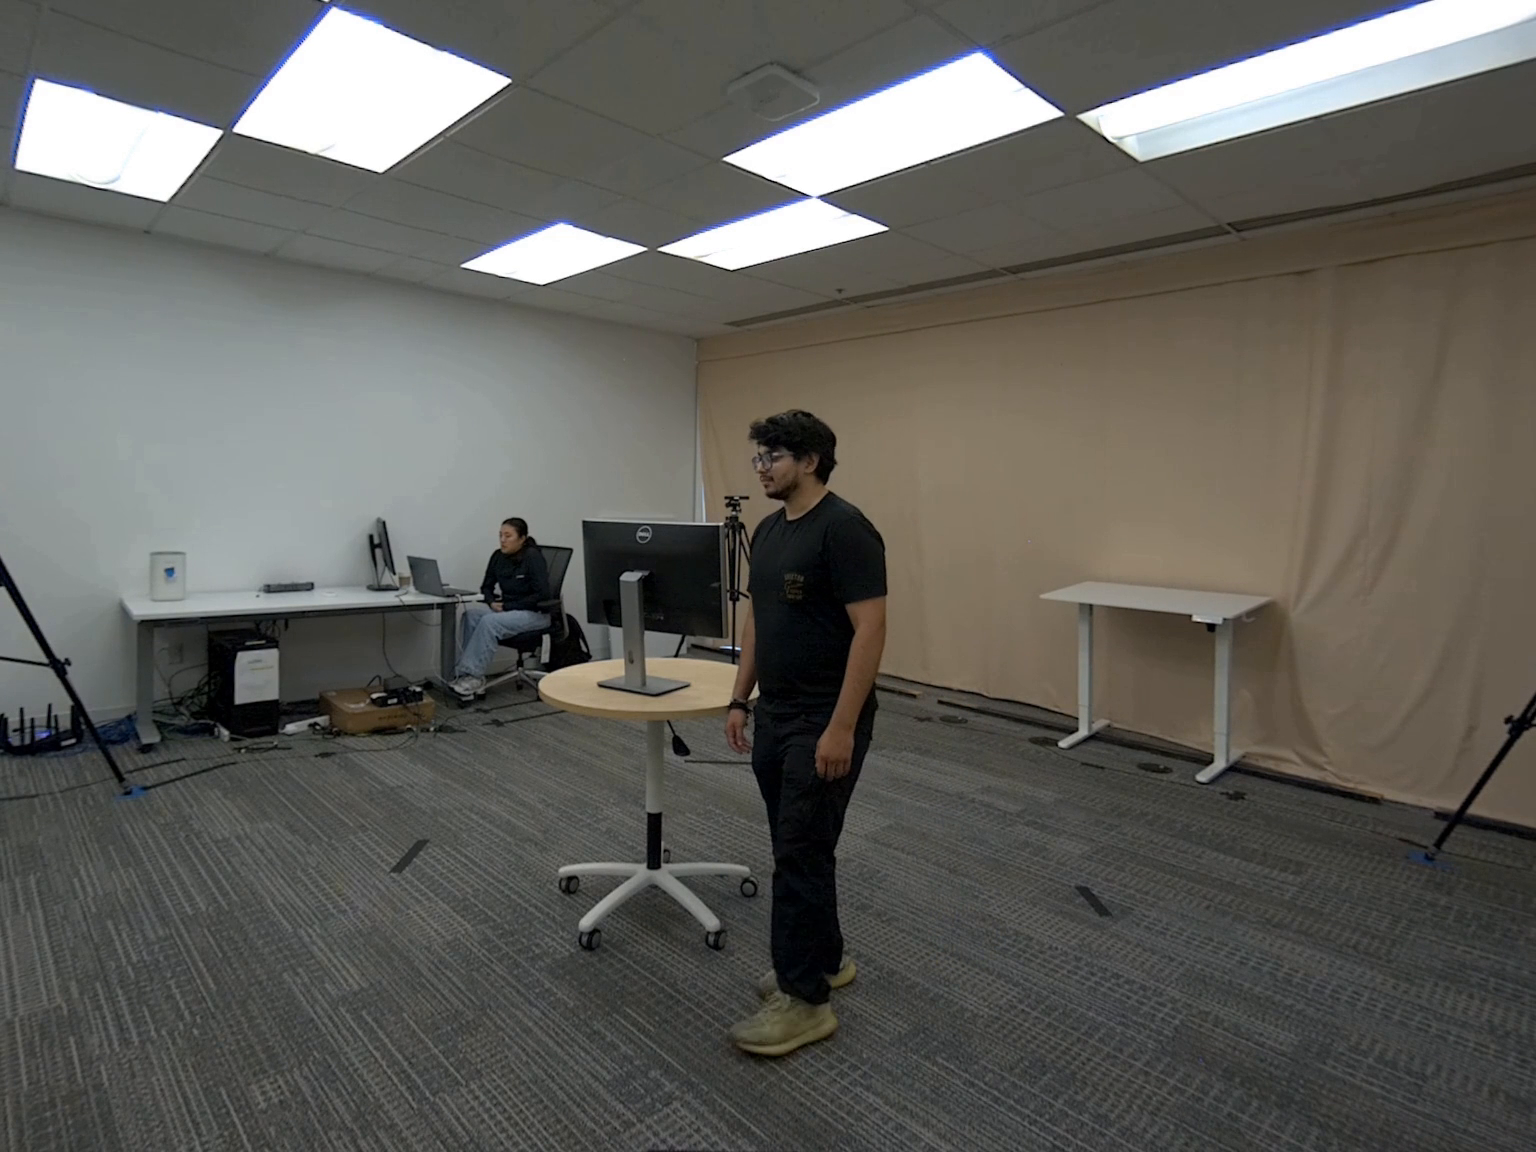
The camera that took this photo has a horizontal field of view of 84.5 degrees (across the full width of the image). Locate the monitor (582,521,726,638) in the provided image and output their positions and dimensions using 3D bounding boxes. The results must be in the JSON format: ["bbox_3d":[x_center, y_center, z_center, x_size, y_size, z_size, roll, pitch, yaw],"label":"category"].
[{"bbox_3d":[-0.416,0.097,2.687,0.578,0.552,0.206,4,7,31],"label":"monitor"}]
